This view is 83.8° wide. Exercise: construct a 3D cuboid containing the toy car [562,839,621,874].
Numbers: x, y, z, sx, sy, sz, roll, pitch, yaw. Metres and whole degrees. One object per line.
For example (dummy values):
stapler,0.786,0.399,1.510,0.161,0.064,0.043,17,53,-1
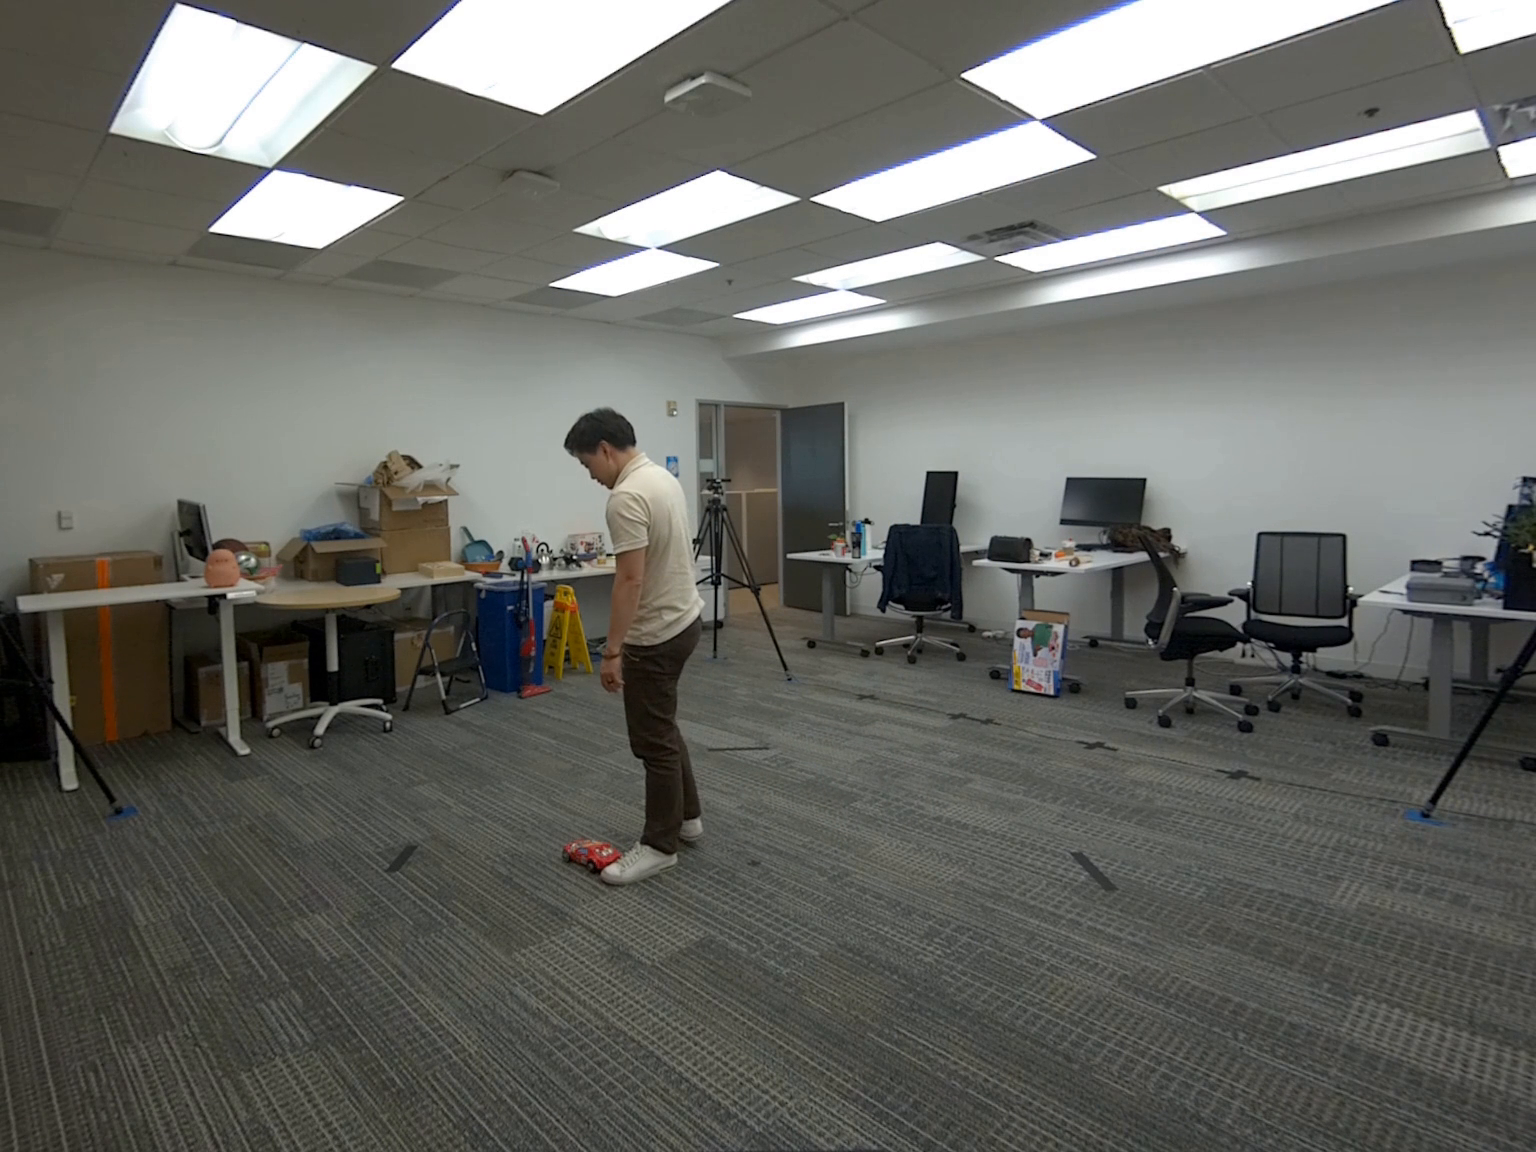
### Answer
toy car,-0.638,1.022,3.120,0.260,0.083,0.127,-10,-1,40
